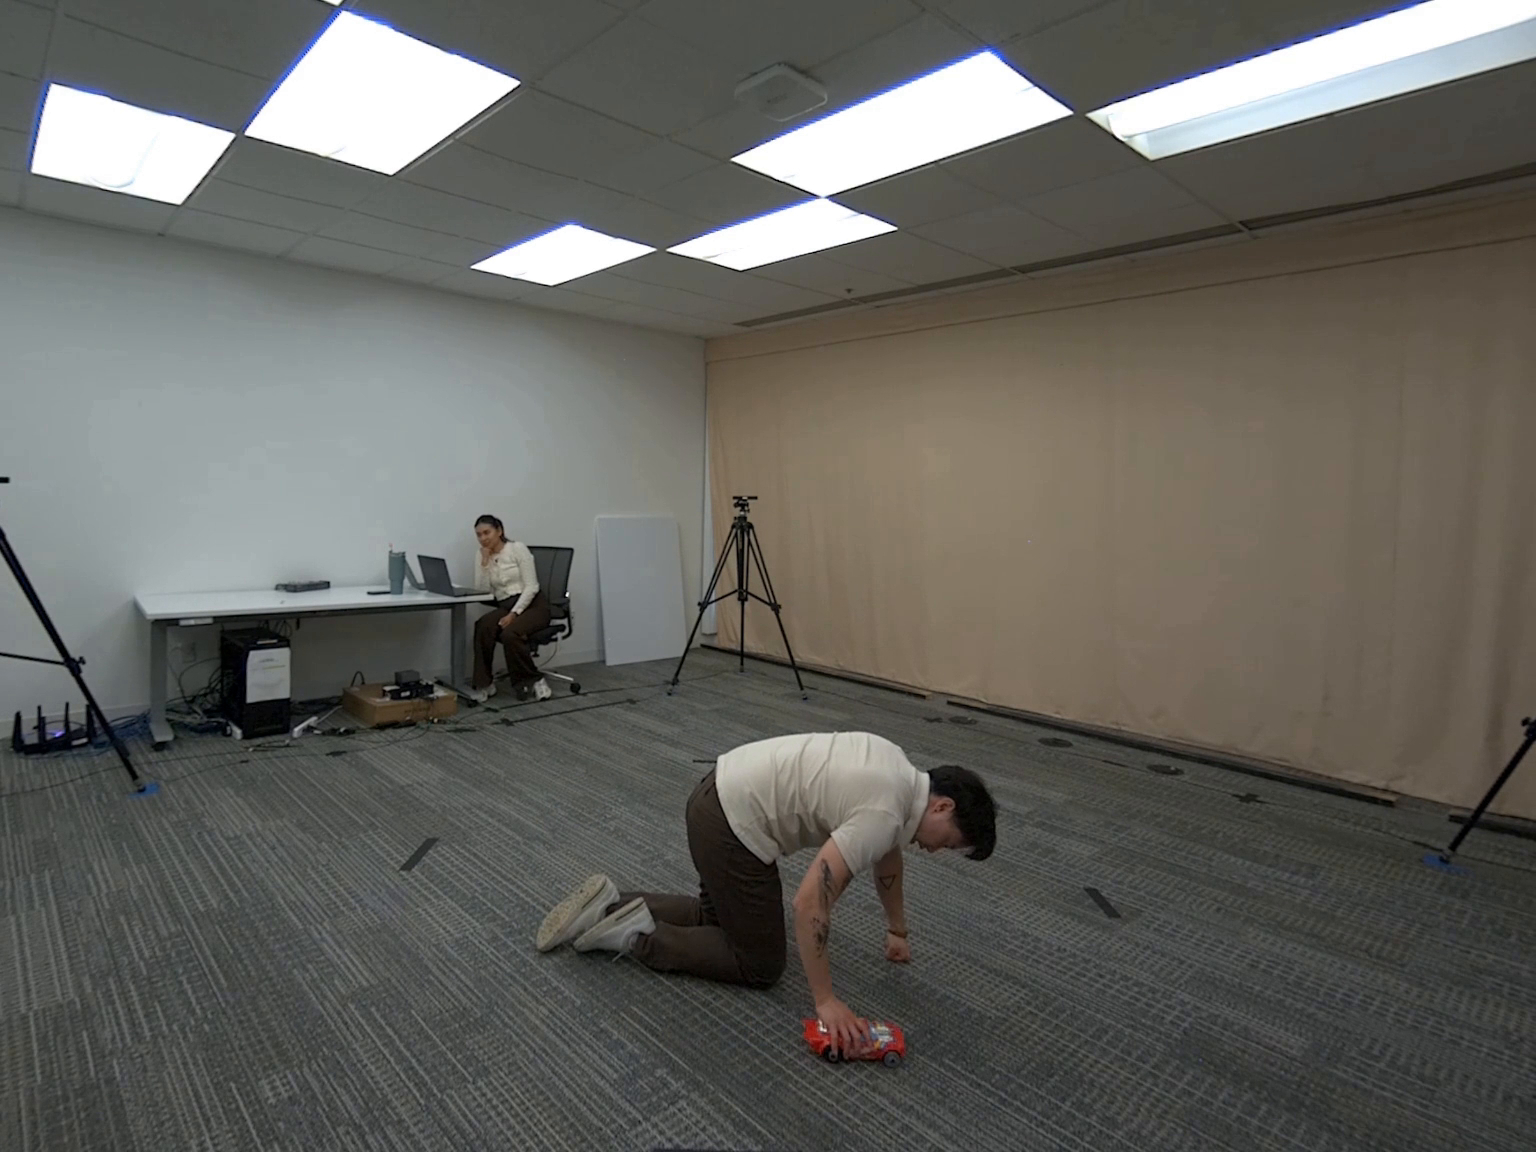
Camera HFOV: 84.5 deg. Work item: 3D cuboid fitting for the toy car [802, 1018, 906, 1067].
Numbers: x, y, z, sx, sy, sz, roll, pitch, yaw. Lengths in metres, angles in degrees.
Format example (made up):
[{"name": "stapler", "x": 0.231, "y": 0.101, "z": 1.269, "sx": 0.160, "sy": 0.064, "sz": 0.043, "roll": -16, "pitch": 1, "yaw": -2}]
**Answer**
[{"name": "toy car", "x": 0.211, "y": 1.175, "z": 2.125, "sx": 0.255, "sy": 0.083, "sz": 0.130, "roll": 11, "pitch": 6, "yaw": 1}]
